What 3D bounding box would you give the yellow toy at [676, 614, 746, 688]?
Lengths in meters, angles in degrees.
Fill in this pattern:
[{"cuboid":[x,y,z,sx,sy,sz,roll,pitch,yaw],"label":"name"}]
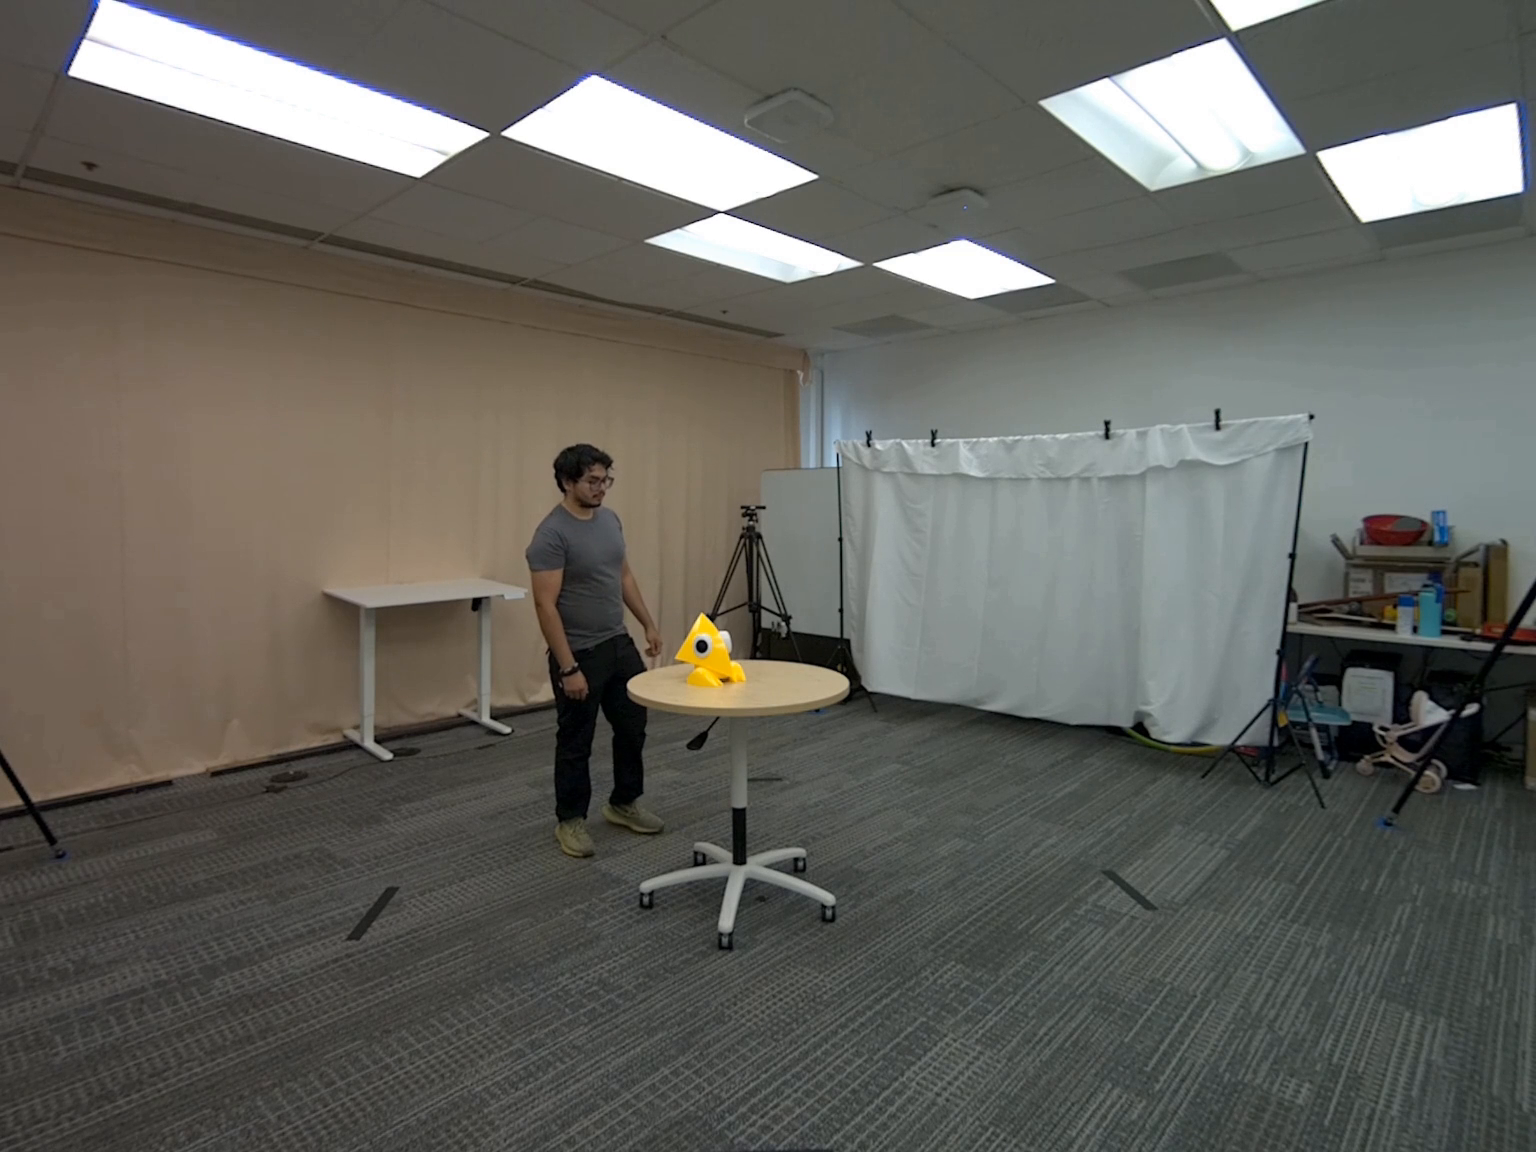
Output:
[{"cuboid":[-0.185,0.251,2.936,0.198,0.230,0.199,-4,6,-43],"label":"yellow toy"}]
